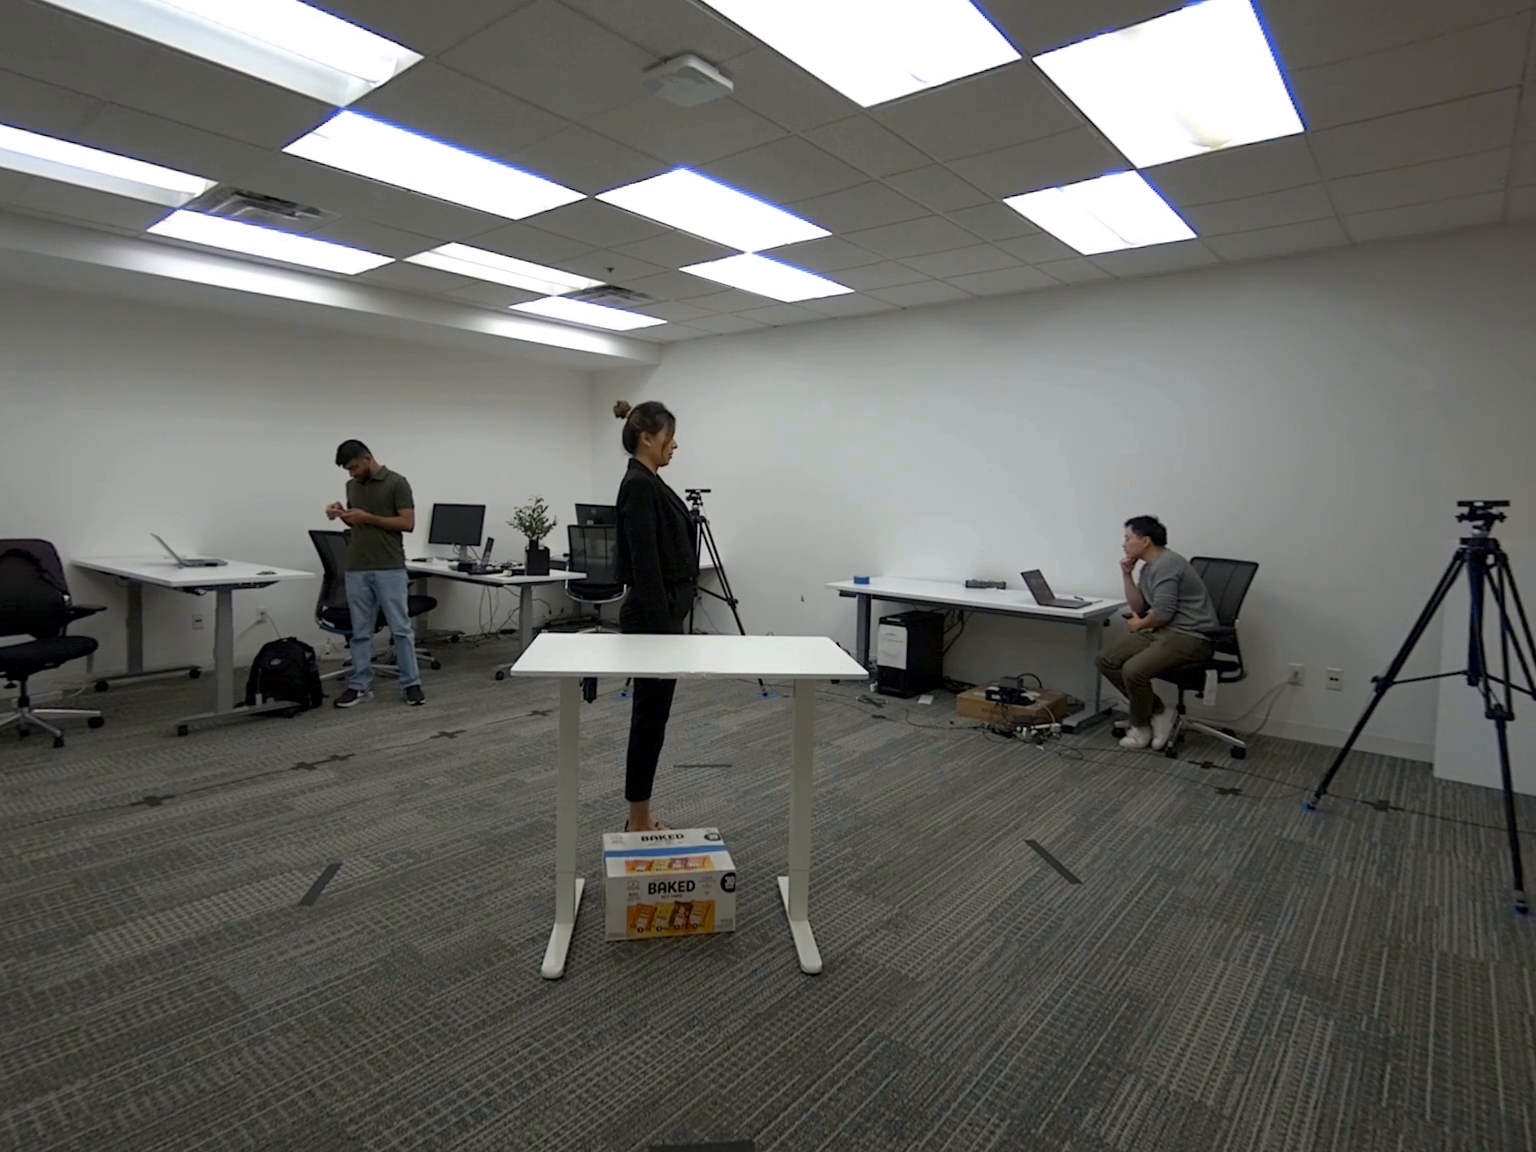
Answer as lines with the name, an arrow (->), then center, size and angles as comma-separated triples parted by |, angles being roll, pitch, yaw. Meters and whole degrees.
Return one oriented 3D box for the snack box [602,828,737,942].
snack box -> -0.343, 1.002, 2.795 | 0.400, 0.205, 0.346 | 0, 5, -12
